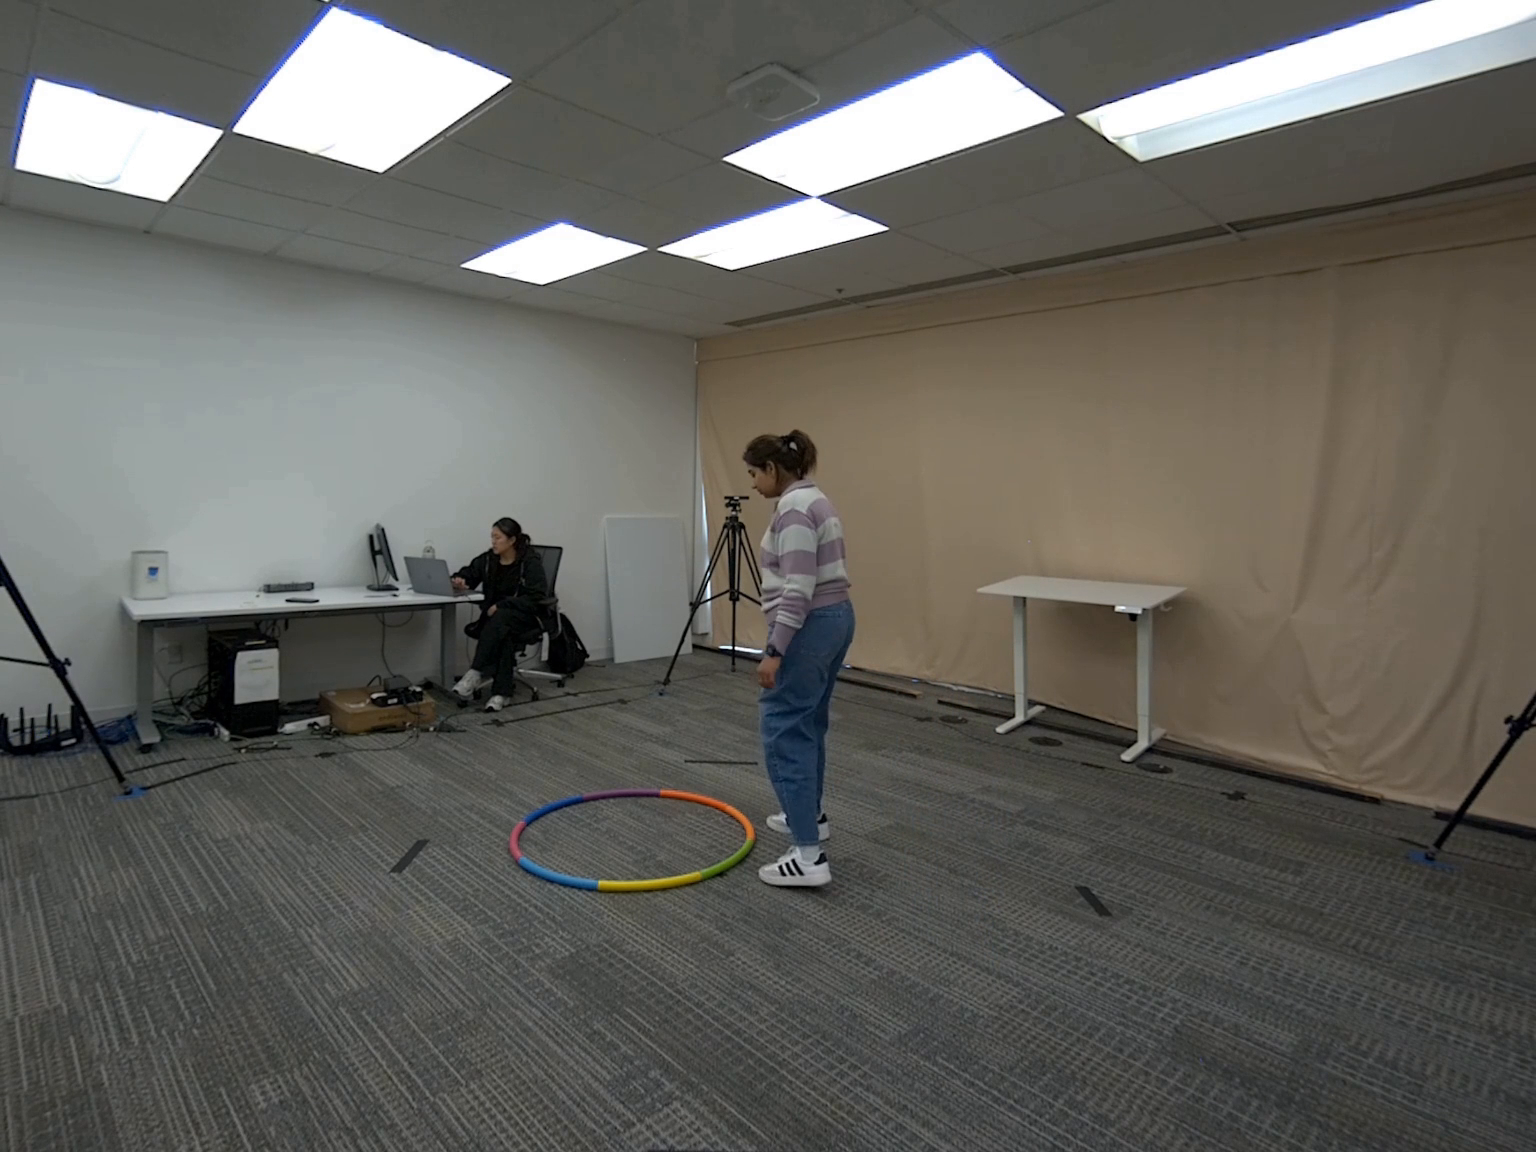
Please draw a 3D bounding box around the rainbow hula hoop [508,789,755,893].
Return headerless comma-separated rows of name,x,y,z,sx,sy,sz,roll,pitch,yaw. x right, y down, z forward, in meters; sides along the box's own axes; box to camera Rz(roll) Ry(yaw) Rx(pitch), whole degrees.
rainbow hula hoop,-0.549,1.039,3.430,0.978,0.035,0.982,2,5,-1
